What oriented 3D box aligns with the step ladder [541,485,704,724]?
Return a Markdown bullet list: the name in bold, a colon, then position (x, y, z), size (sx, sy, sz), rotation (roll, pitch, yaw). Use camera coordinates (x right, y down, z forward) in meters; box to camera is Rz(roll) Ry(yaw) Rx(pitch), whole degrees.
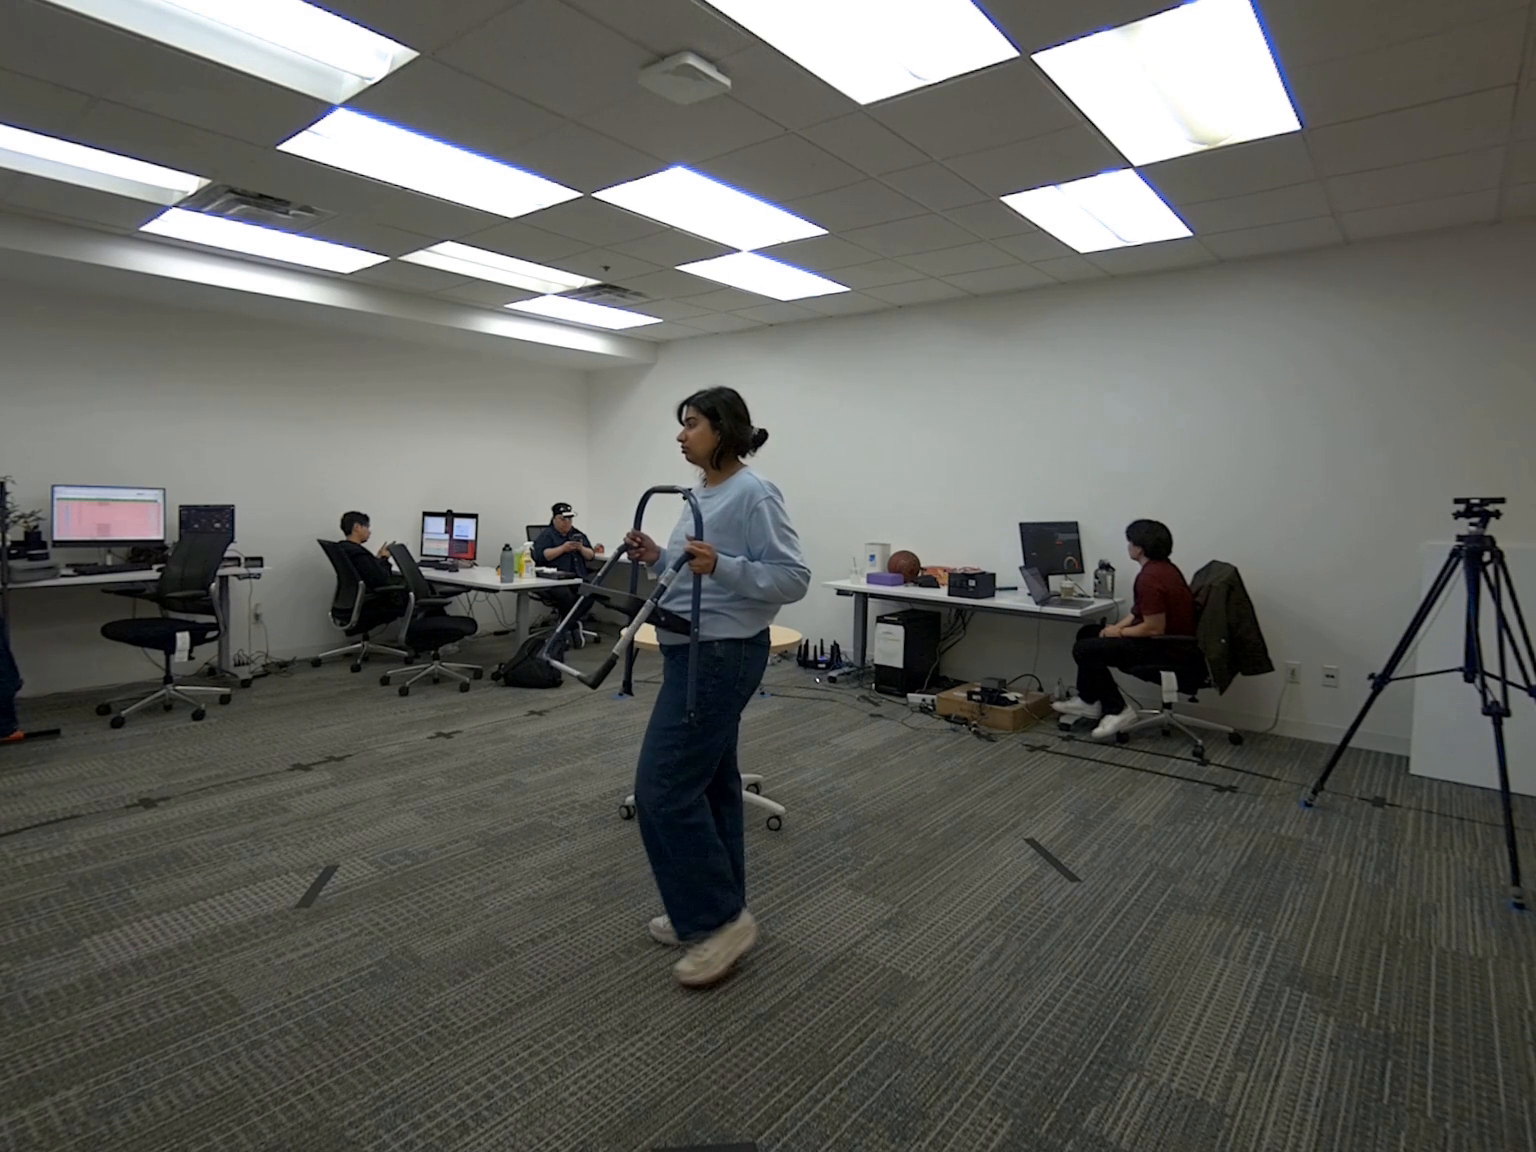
- **step ladder**: position (-0.356, 0.048, 2.462), size (0.336, 0.609, 0.445), rotation (27, -11, -34)
